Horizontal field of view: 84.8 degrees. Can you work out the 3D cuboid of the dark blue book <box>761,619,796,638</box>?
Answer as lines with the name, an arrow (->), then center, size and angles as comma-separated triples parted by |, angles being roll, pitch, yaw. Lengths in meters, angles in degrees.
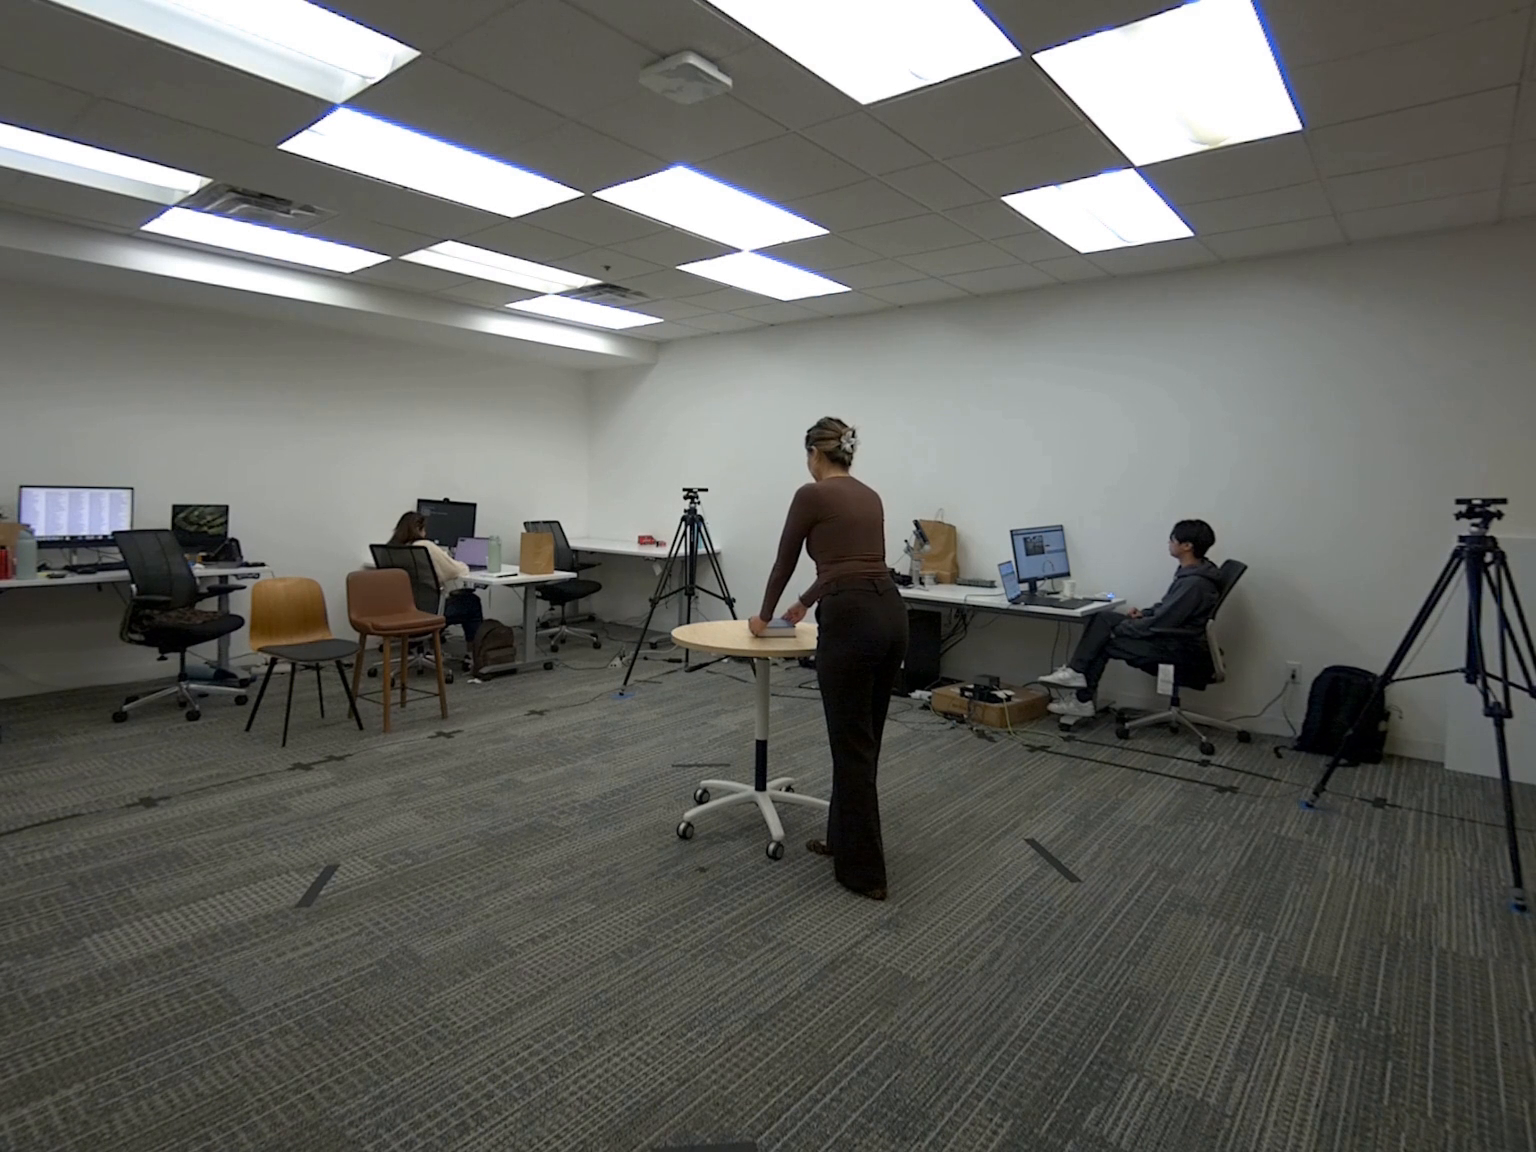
dark blue book -> 0.000, 0.214, 3.551 | 0.162, 0.045, 0.248 | 0, 6, -7
